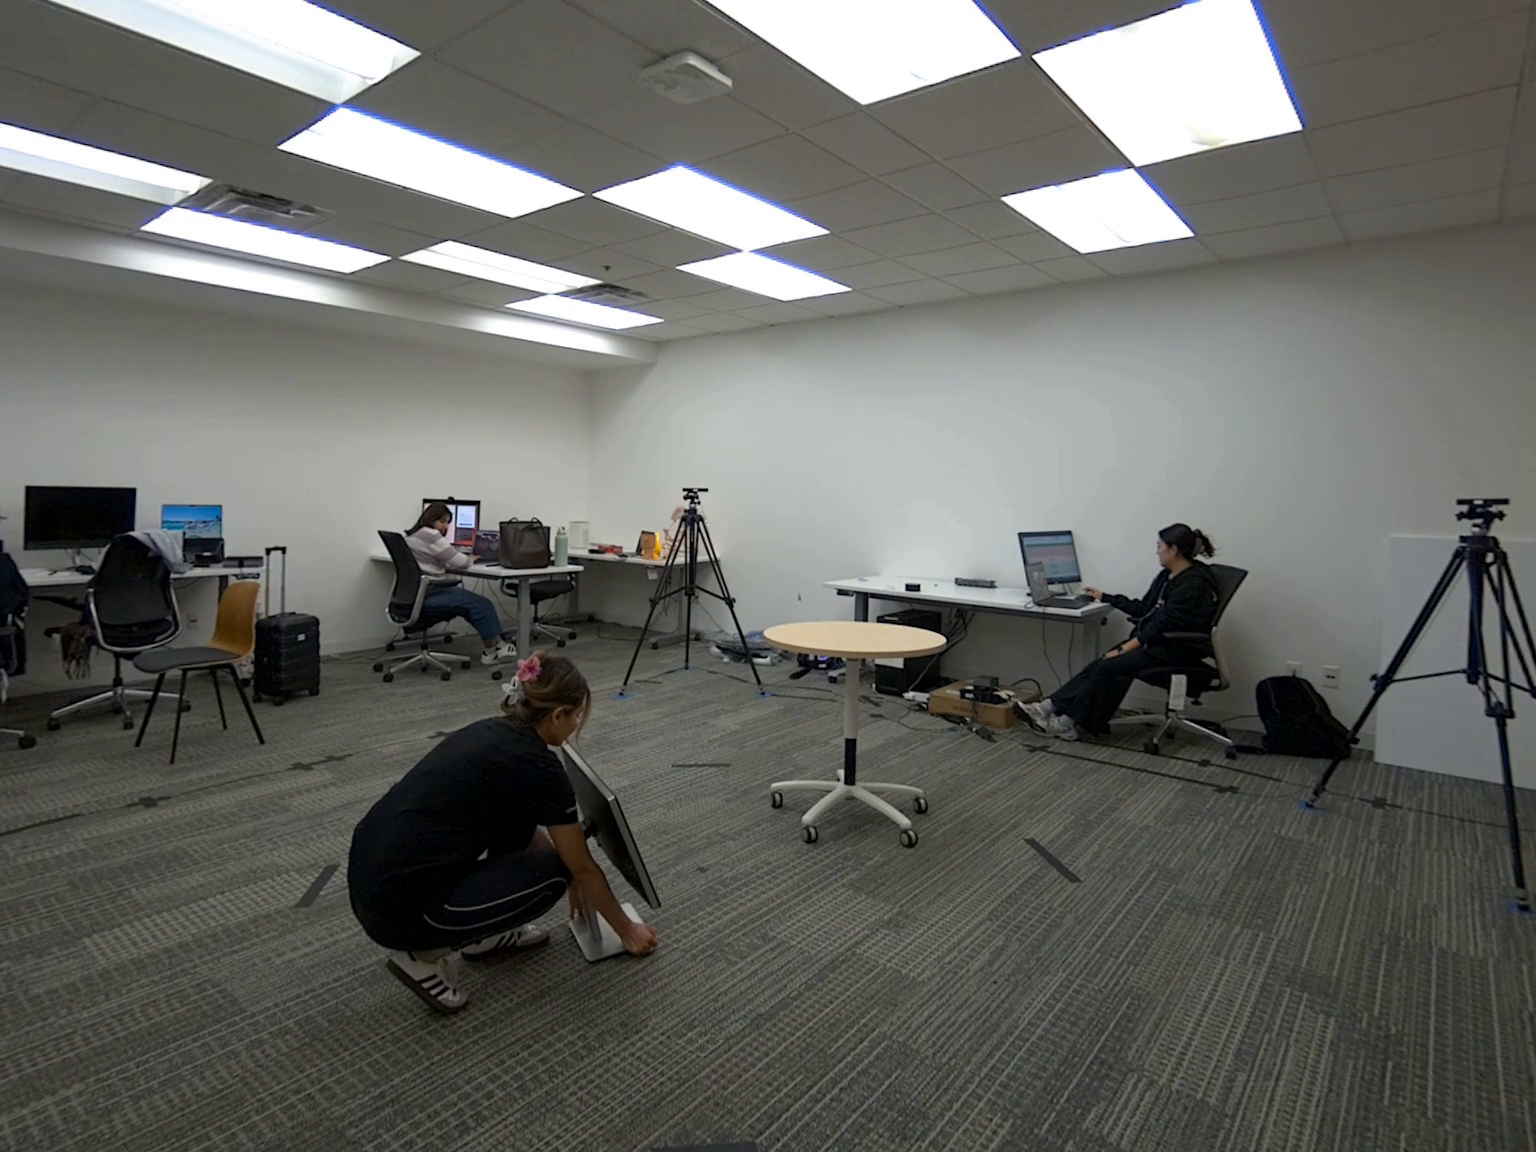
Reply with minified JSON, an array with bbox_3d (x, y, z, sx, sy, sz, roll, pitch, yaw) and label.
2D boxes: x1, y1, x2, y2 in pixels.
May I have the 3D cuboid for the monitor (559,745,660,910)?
[{"bbox_3d":[-0.519,0.835,2.583,0.183,0.518,0.555,-10,9,-27],"label":"monitor"}]
